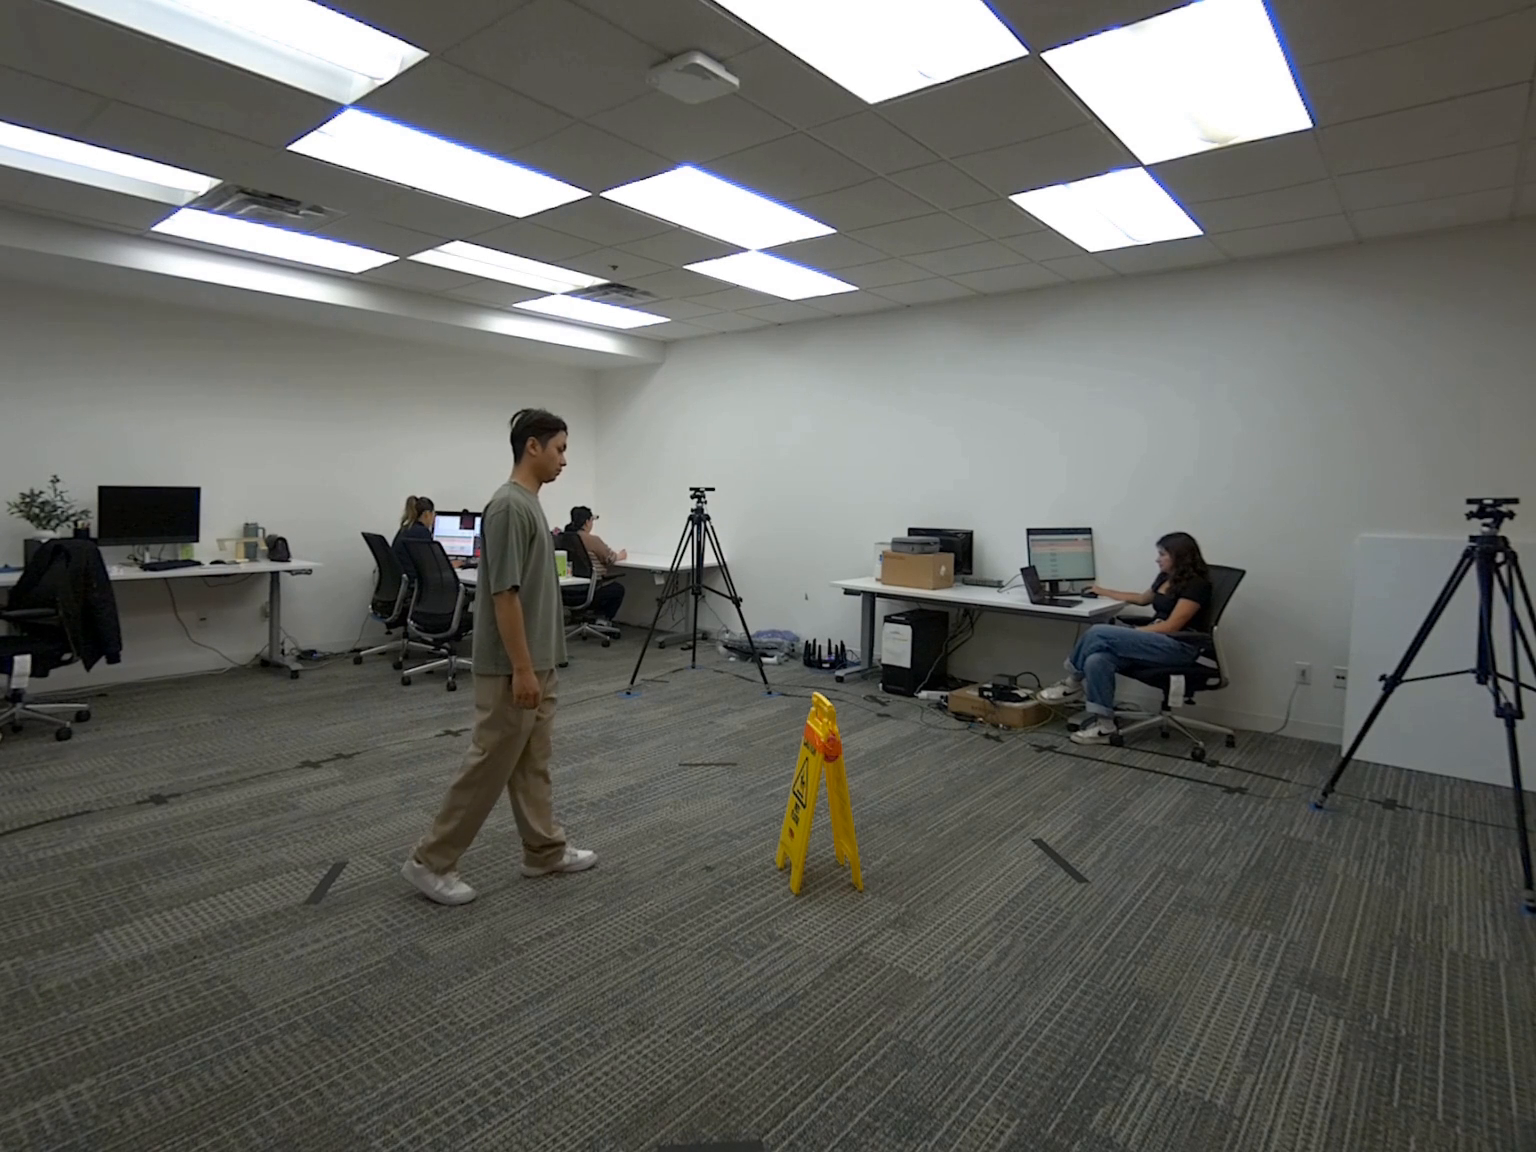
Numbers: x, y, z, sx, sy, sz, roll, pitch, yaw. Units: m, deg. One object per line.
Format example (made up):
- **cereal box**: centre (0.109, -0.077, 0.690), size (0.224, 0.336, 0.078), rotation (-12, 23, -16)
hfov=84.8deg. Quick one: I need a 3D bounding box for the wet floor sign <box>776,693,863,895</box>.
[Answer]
- **wet floor sign**: centre (0.179, 0.761, 3.043), size (0.286, 0.644, 0.286), rotation (2, 4, -11)
